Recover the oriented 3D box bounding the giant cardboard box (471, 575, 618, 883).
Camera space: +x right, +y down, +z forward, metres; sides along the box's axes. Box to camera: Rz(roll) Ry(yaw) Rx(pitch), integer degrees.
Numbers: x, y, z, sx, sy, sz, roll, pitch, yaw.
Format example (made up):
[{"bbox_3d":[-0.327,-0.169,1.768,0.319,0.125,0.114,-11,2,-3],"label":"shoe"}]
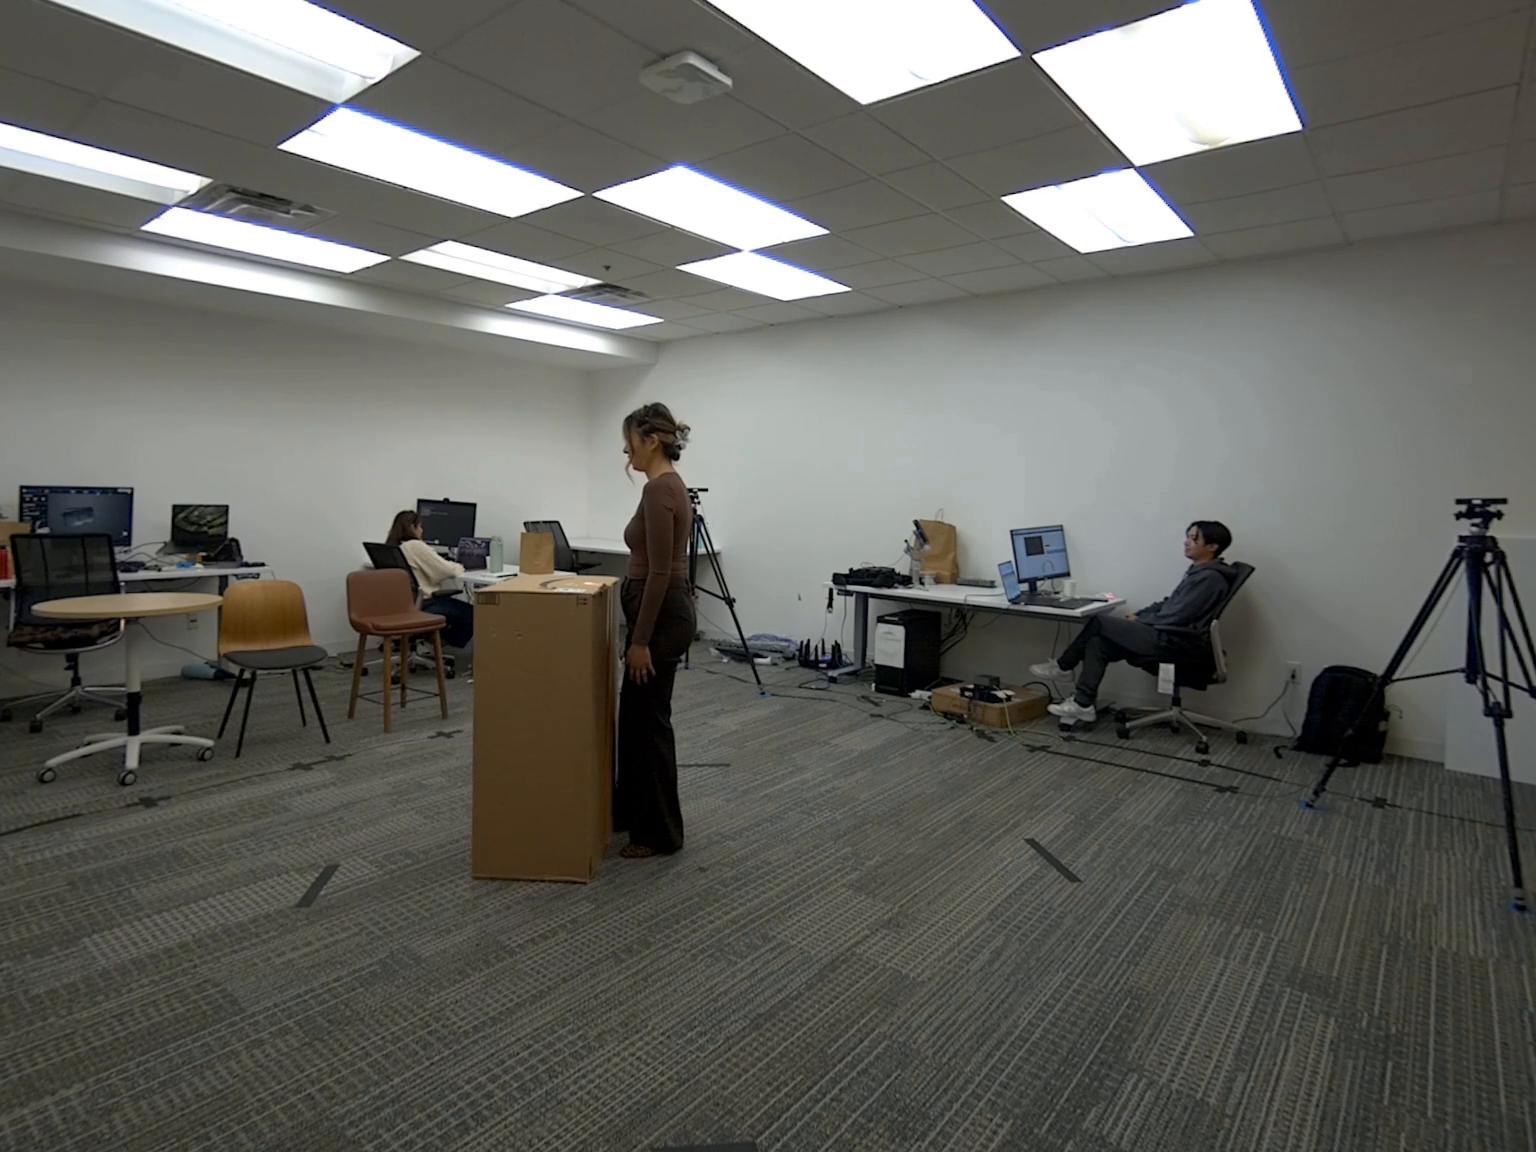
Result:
[{"bbox_3d":[-0.839,0.532,3.249,0.448,1.024,0.584,2,3,1],"label":"giant cardboard box"}]
